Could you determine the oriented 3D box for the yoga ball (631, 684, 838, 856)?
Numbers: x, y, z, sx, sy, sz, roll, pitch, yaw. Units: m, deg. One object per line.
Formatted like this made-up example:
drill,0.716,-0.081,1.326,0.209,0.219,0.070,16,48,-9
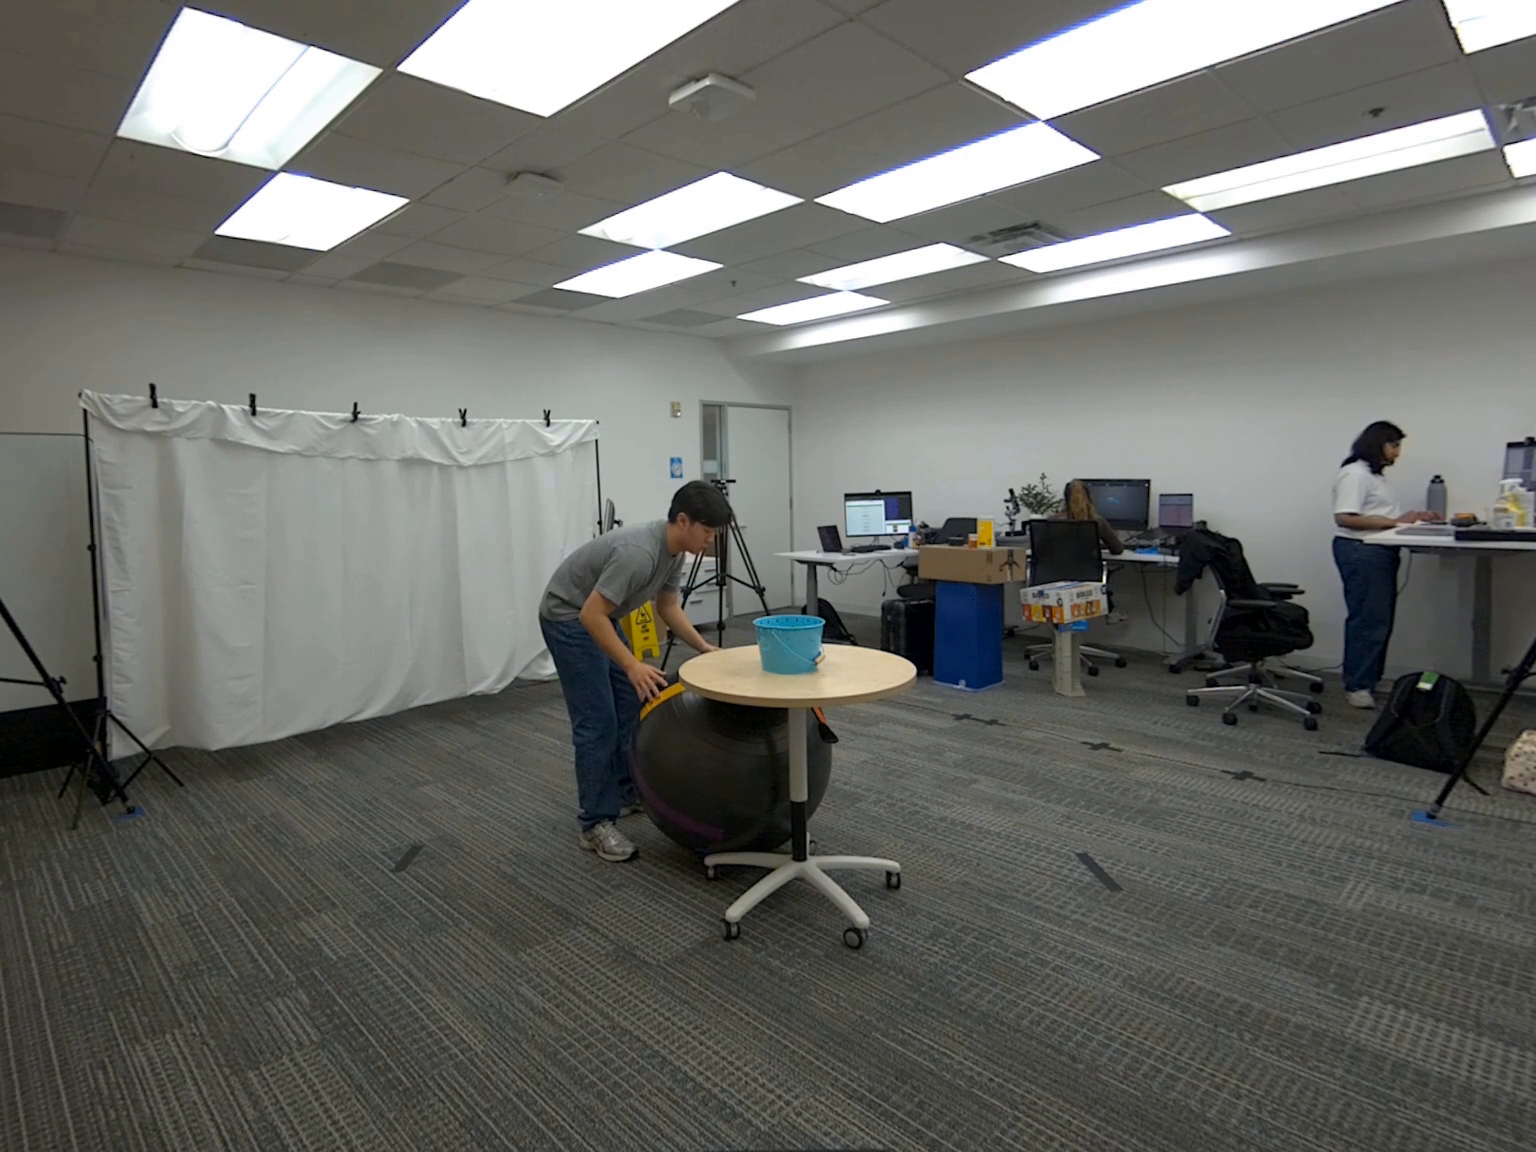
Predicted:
yoga ball,-0.140,0.666,3.226,0.757,0.755,0.762,-1,5,-2
